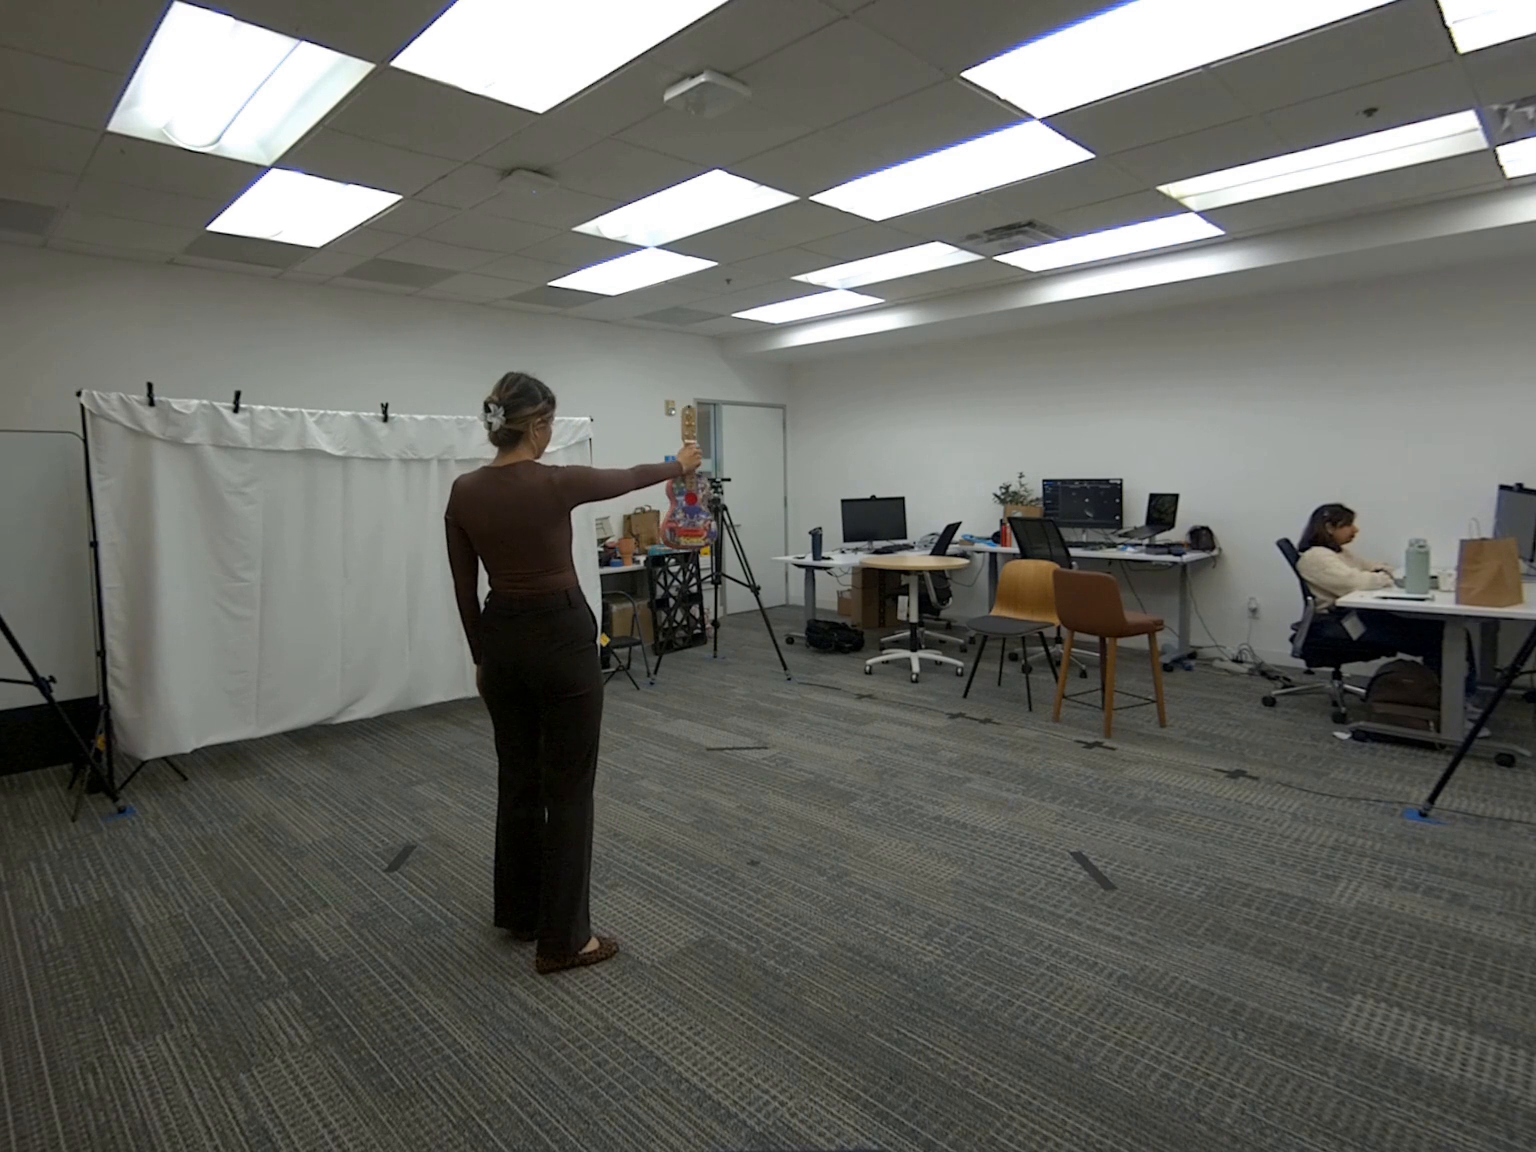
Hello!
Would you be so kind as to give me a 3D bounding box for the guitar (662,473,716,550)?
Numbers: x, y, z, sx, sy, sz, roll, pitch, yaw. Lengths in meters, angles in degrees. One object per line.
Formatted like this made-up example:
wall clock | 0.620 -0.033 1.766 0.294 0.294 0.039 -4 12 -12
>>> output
guitar | -0.253 -0.333 2.992 0.190 0.501 0.071 11 -8 -16
